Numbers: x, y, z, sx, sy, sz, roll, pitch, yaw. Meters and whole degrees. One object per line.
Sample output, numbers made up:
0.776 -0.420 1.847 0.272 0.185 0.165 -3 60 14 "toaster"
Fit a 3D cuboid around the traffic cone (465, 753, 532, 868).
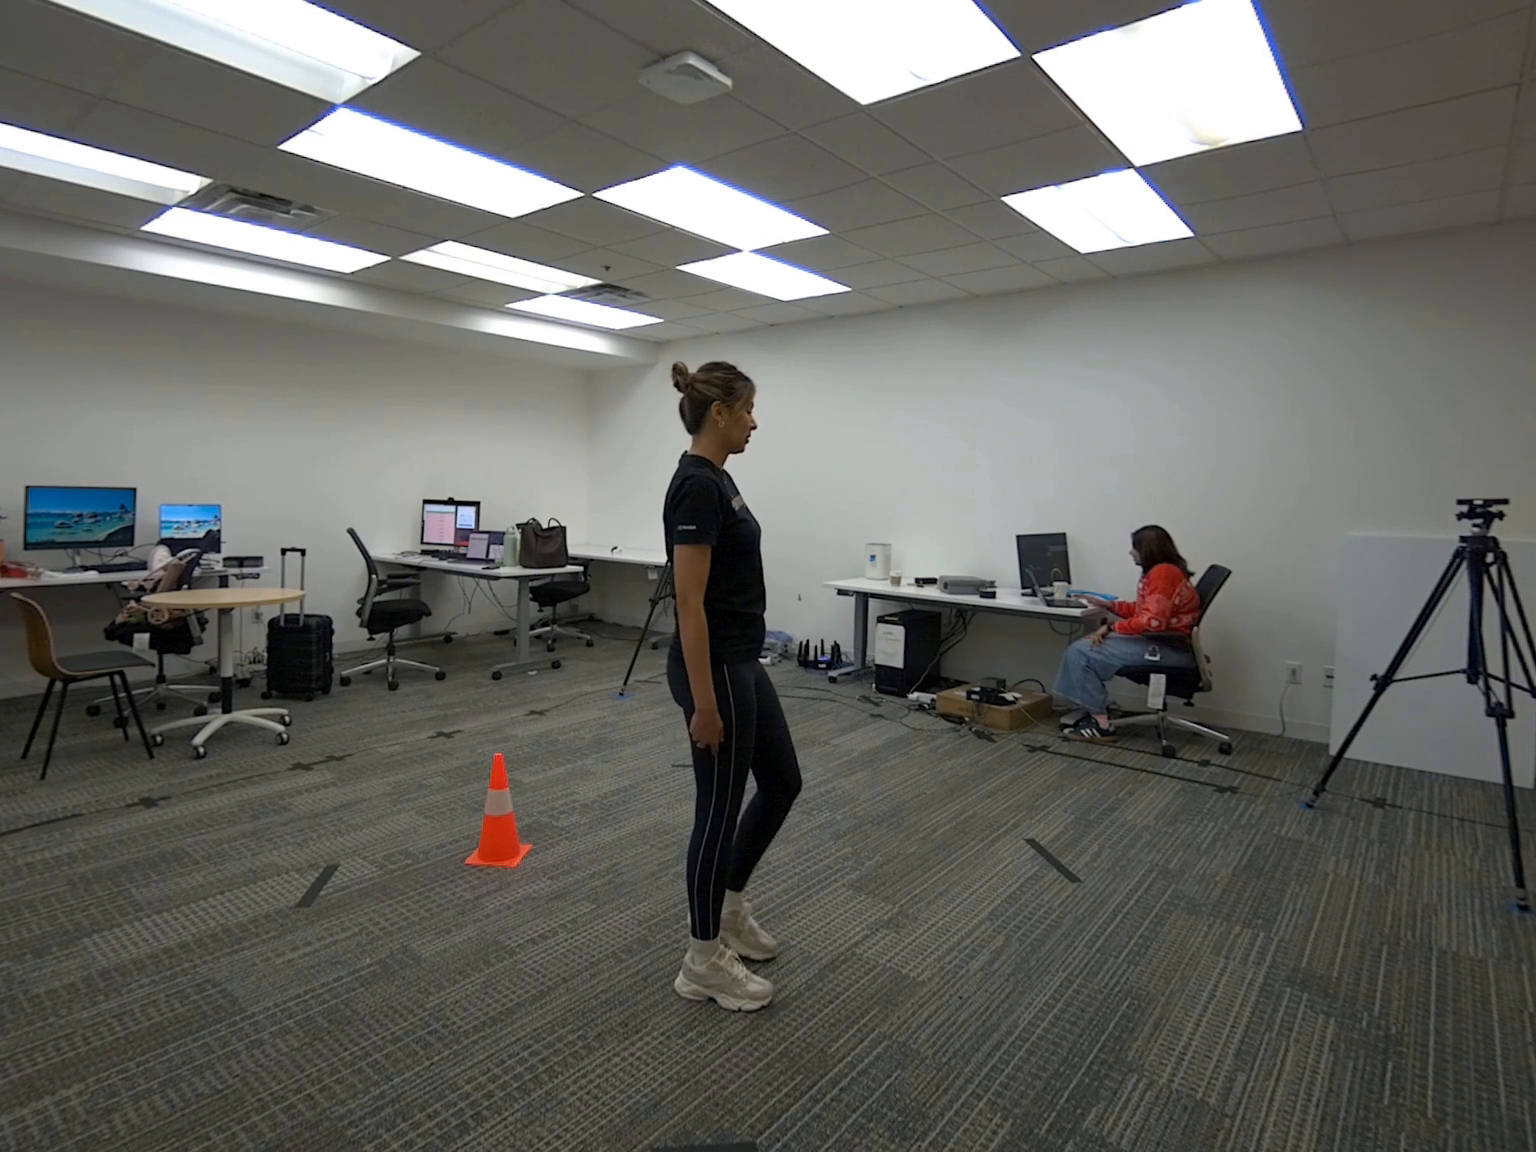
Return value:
-1.025 0.864 3.197 0.207 0.383 0.202 1 3 8 "traffic cone"
